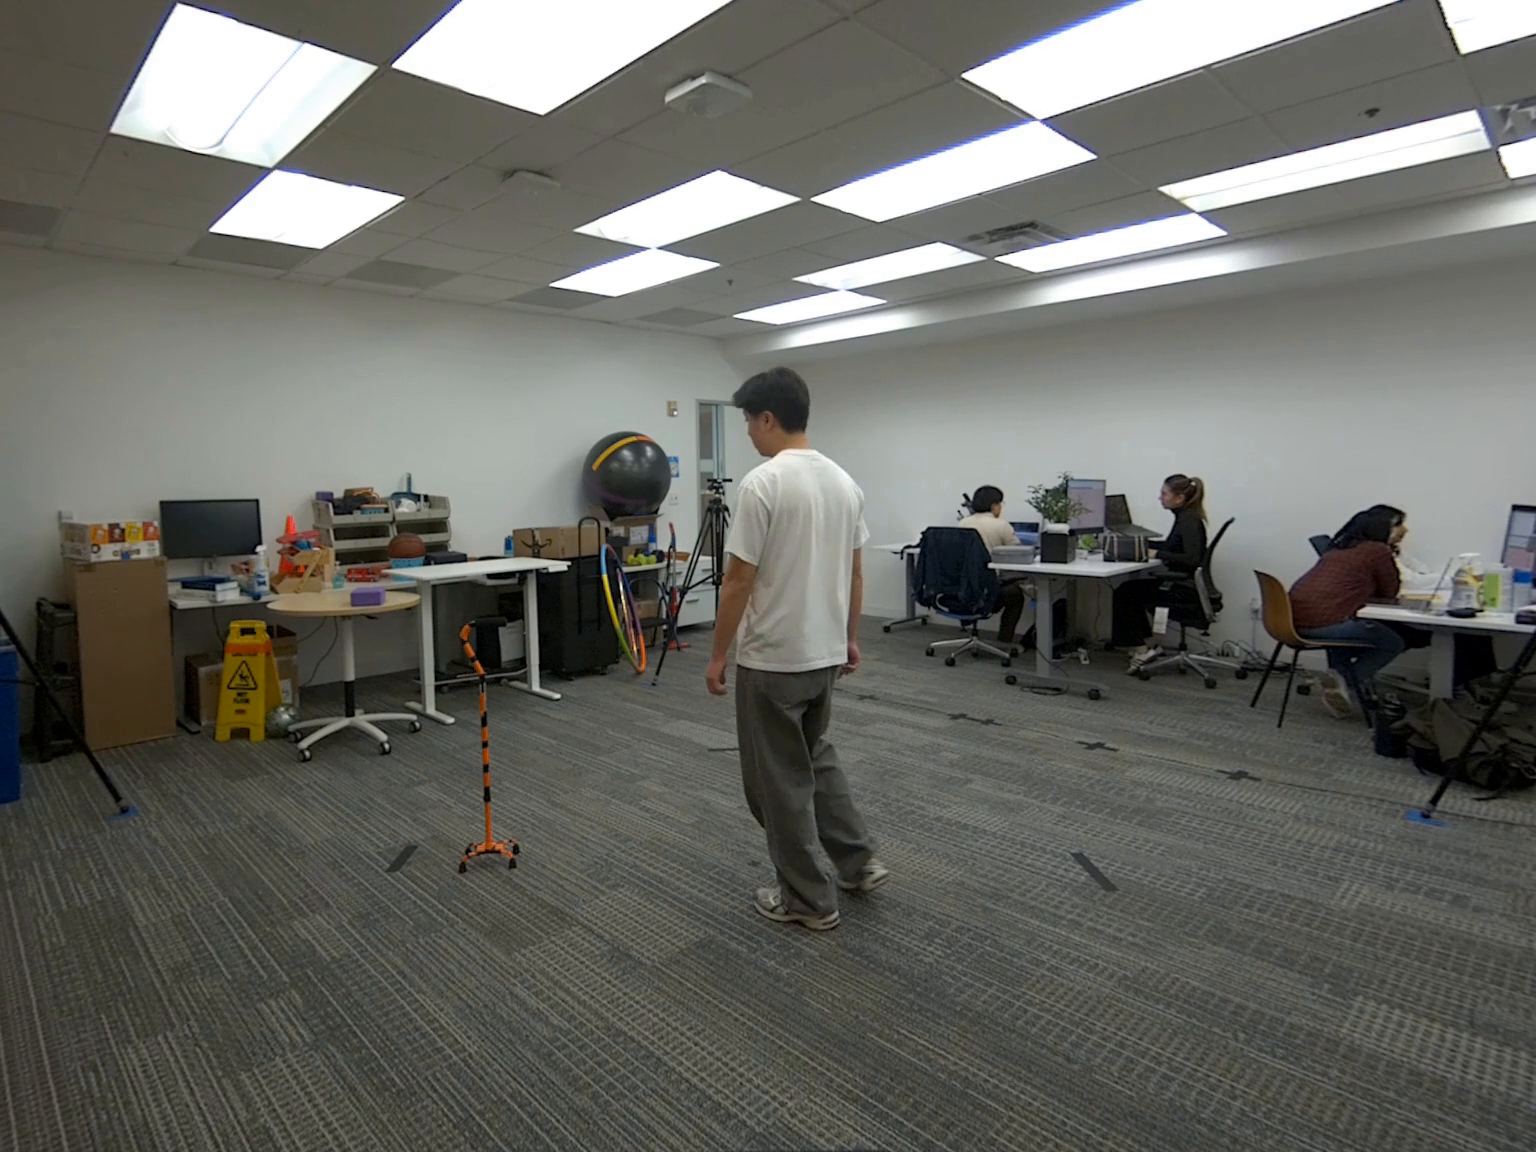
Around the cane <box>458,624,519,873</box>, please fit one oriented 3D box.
[{"bbox_3d":[-1.037,0.607,3.139,0.205,0.904,0.153,-2,4,-10],"label":"cane"}]
